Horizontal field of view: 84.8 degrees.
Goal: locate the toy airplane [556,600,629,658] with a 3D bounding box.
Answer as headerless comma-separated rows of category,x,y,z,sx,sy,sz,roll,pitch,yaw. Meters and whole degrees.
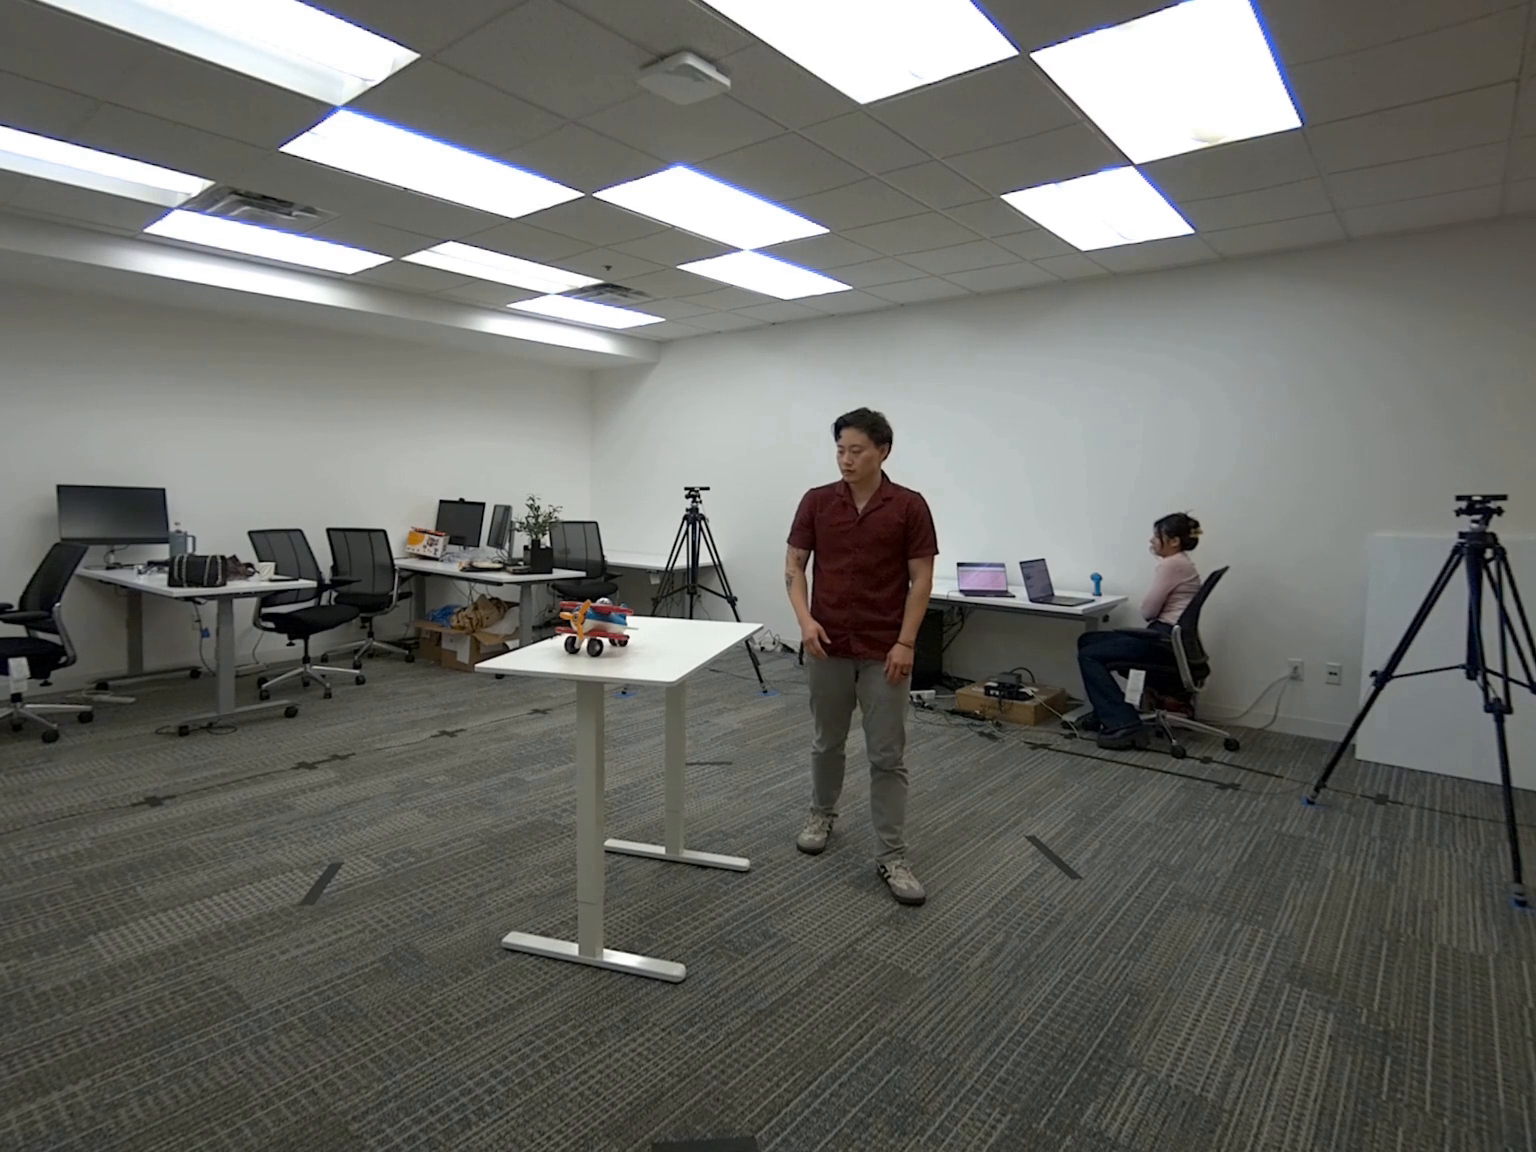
toy airplane,-0.546,0.154,2.640,0.251,0.156,0.260,-1,5,0
